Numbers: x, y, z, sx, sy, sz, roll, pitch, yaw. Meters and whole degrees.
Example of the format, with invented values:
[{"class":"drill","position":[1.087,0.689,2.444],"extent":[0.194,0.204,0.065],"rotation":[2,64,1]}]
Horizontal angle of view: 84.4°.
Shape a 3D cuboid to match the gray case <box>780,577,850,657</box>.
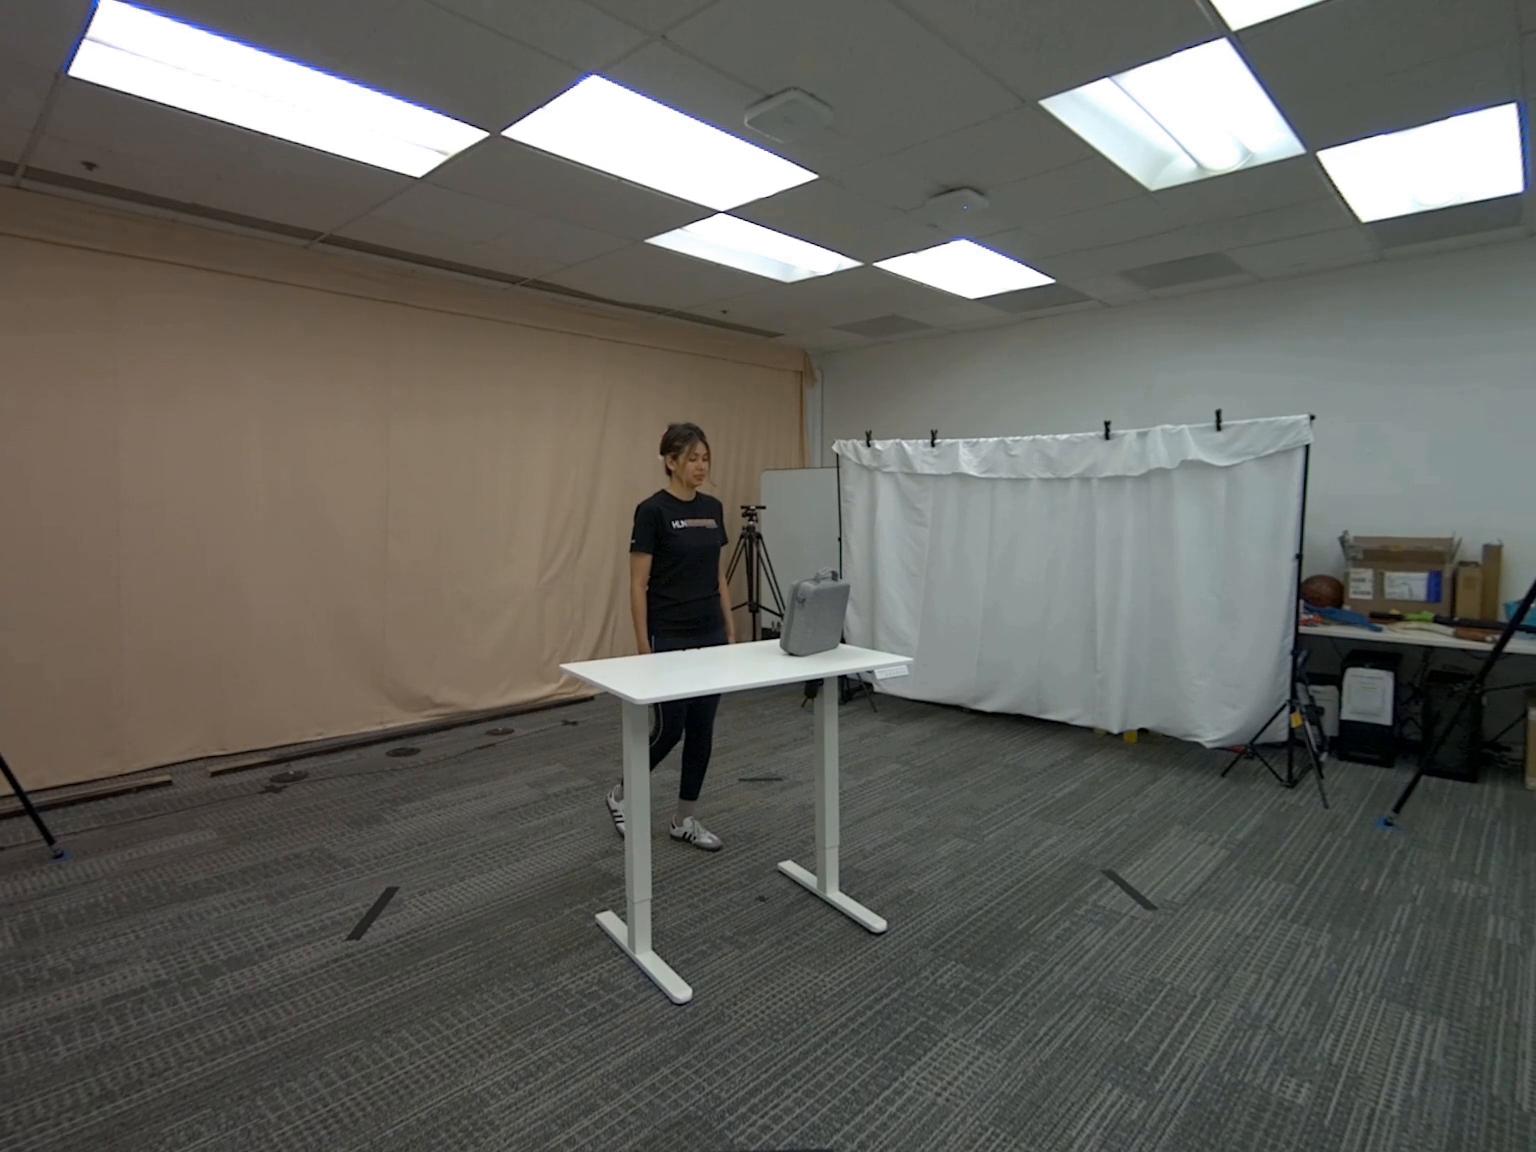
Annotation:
[{"class":"gray case","position":[0.170,0.133,2.900],"extent":[0.108,0.259,0.249],"rotation":[19,16,37]}]
